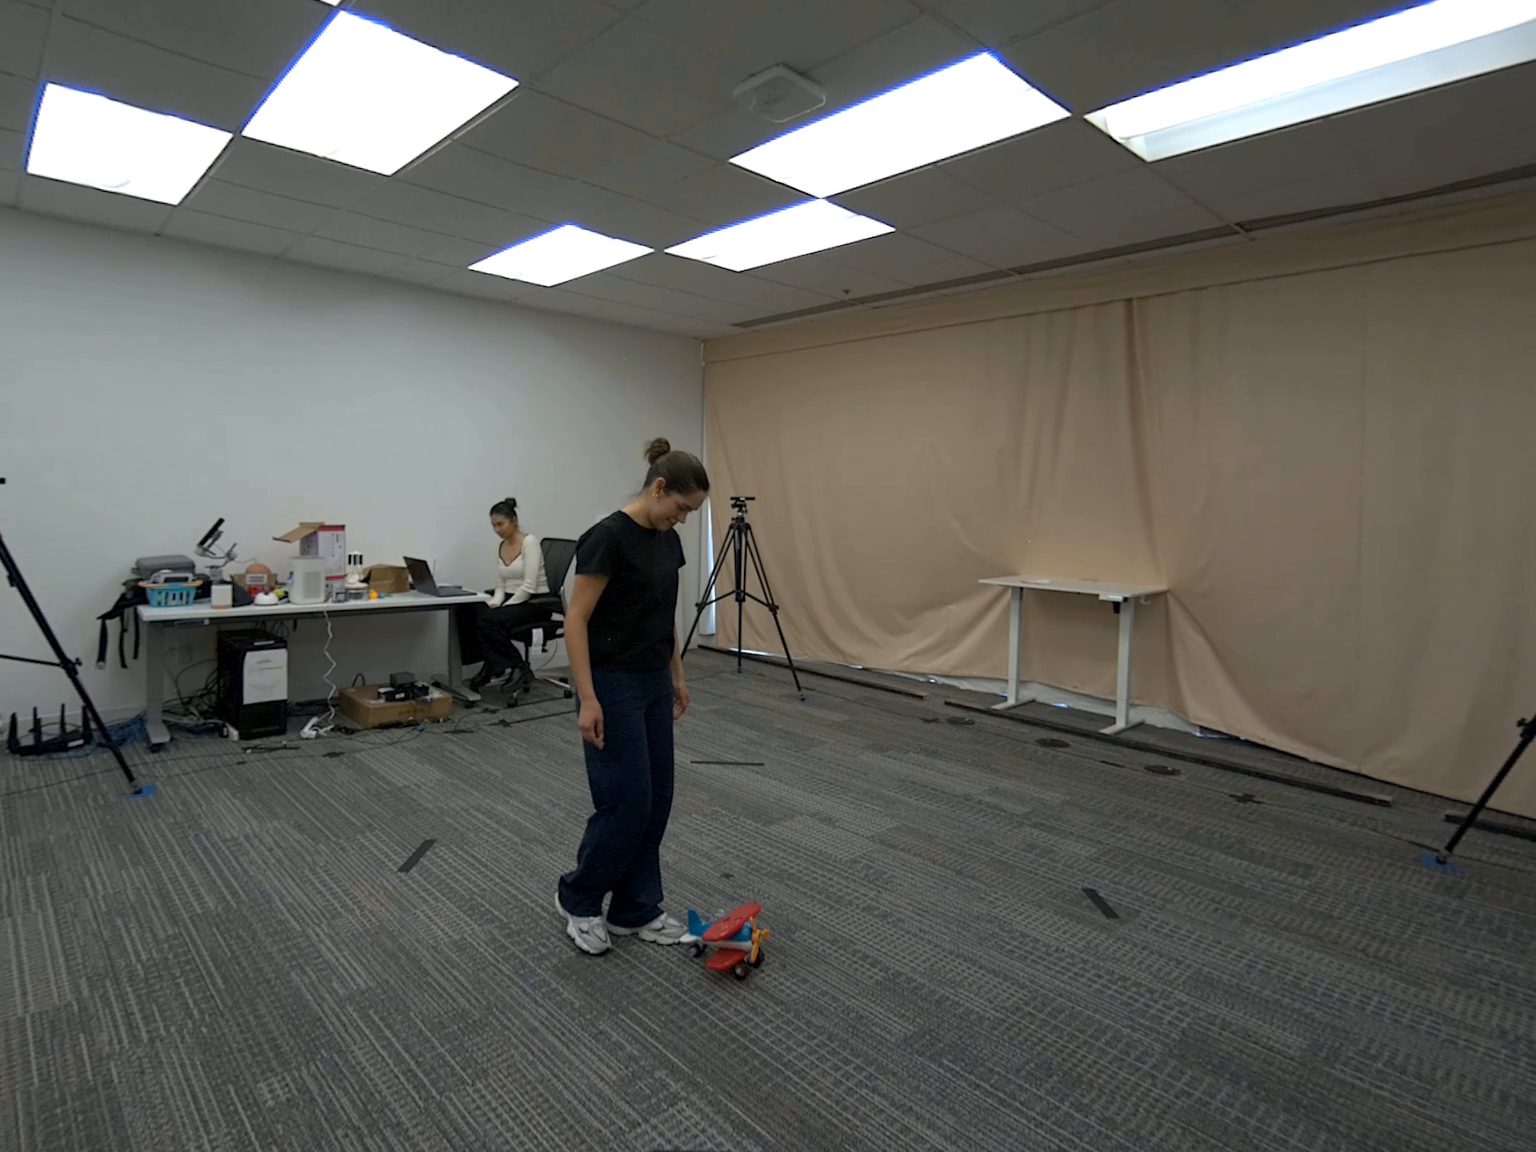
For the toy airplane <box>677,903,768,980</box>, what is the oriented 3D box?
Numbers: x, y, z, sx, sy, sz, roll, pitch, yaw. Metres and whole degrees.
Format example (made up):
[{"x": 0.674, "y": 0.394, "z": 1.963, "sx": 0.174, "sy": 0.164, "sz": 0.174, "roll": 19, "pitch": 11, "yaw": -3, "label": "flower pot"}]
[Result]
[{"x": -0.141, "y": 1.091, "z": 2.476, "sx": 0.260, "sy": 0.156, "sz": 0.251, "roll": 3, "pitch": 5, "yaw": 3, "label": "toy airplane"}]
